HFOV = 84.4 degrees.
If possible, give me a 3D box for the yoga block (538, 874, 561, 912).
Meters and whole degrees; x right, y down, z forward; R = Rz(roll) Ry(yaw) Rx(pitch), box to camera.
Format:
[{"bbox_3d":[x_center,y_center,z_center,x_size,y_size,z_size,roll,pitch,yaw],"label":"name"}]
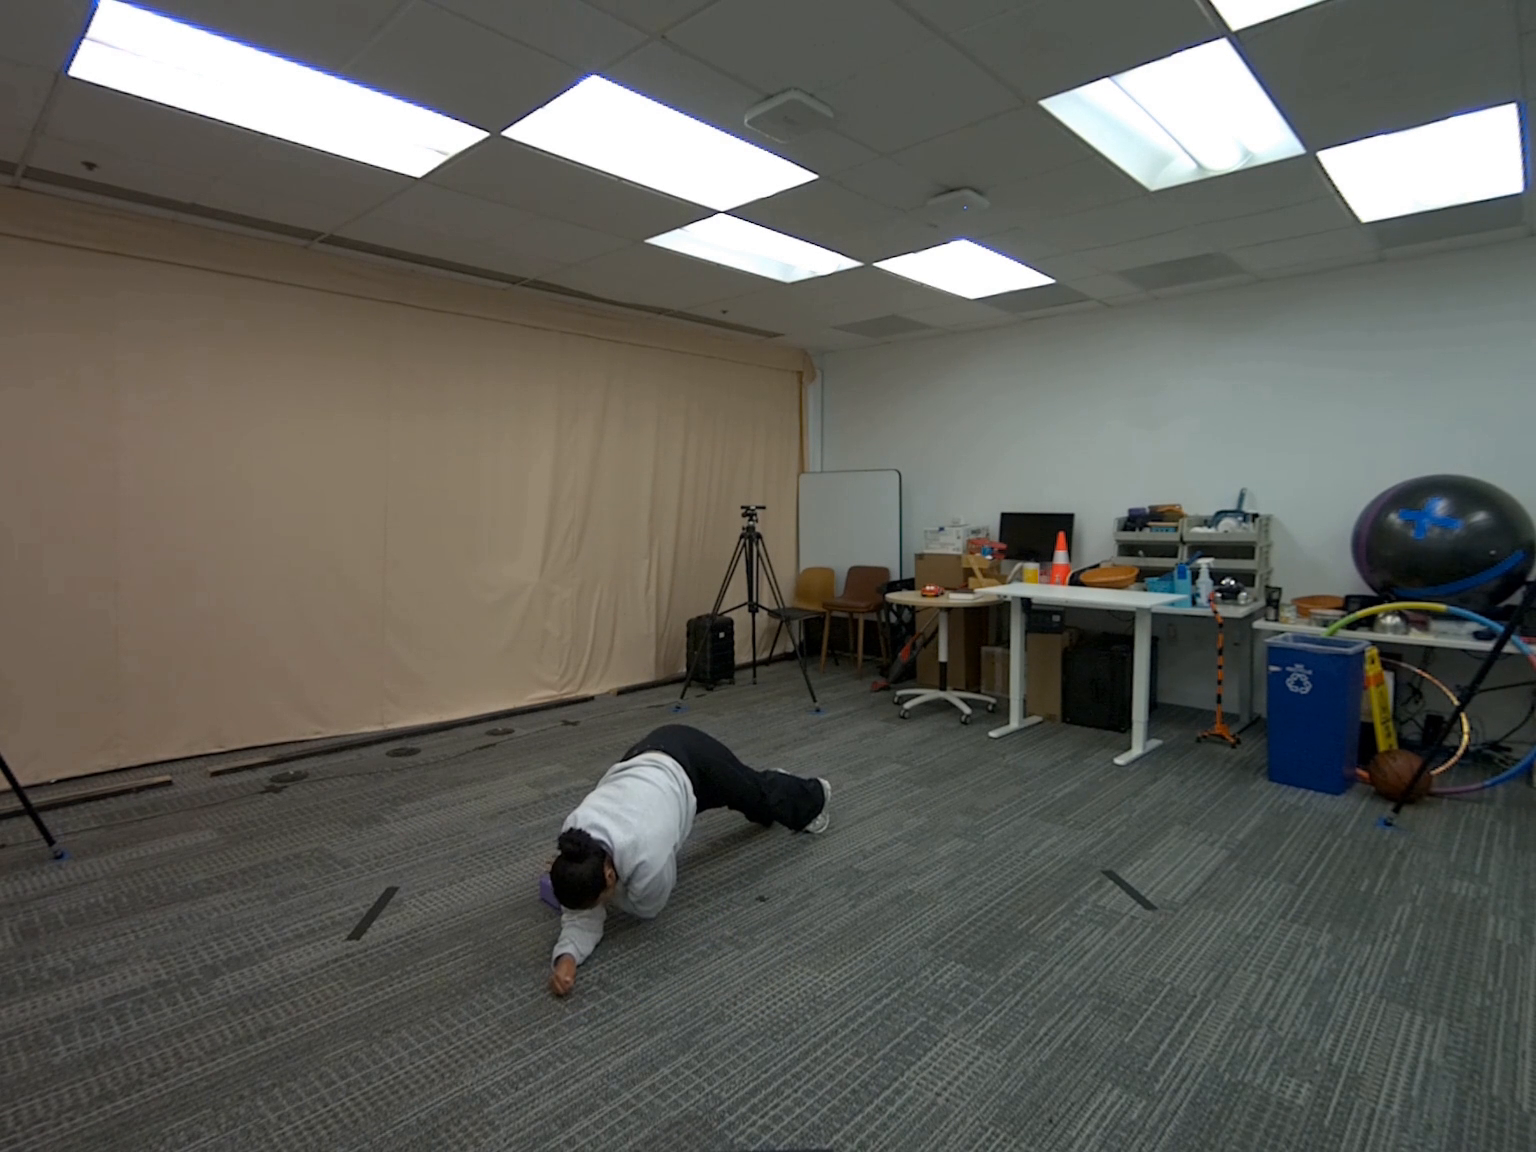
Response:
[{"bbox_3d":[-0.683,1.108,3.014,0.222,0.076,0.154,-6,7,-42],"label":"yoga block"}]
